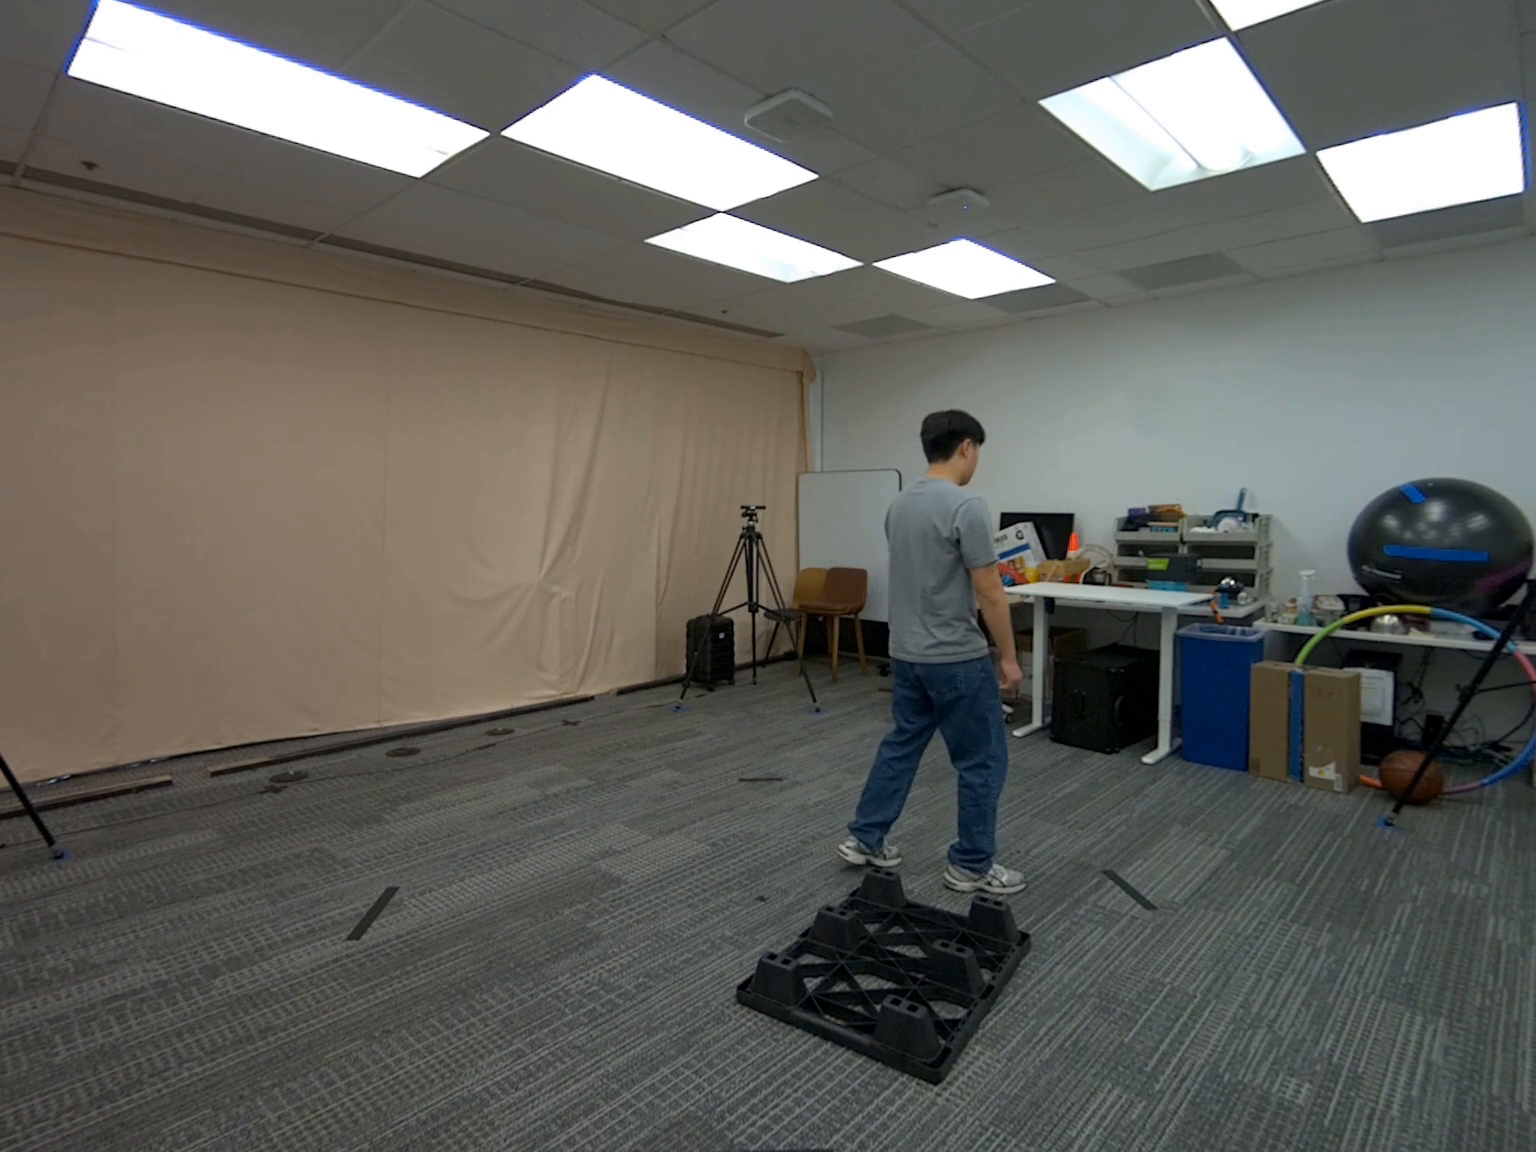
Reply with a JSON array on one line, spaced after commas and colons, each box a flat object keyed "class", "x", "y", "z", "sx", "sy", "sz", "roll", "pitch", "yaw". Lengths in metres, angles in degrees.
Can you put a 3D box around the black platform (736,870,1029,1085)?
[{"class": "black platform", "x": 0.373, "y": 1.117, "z": 2.499, "sx": 0.624, "sy": 0.143, "sz": 0.783, "roll": 3, "pitch": 6, "yaw": 33}]
